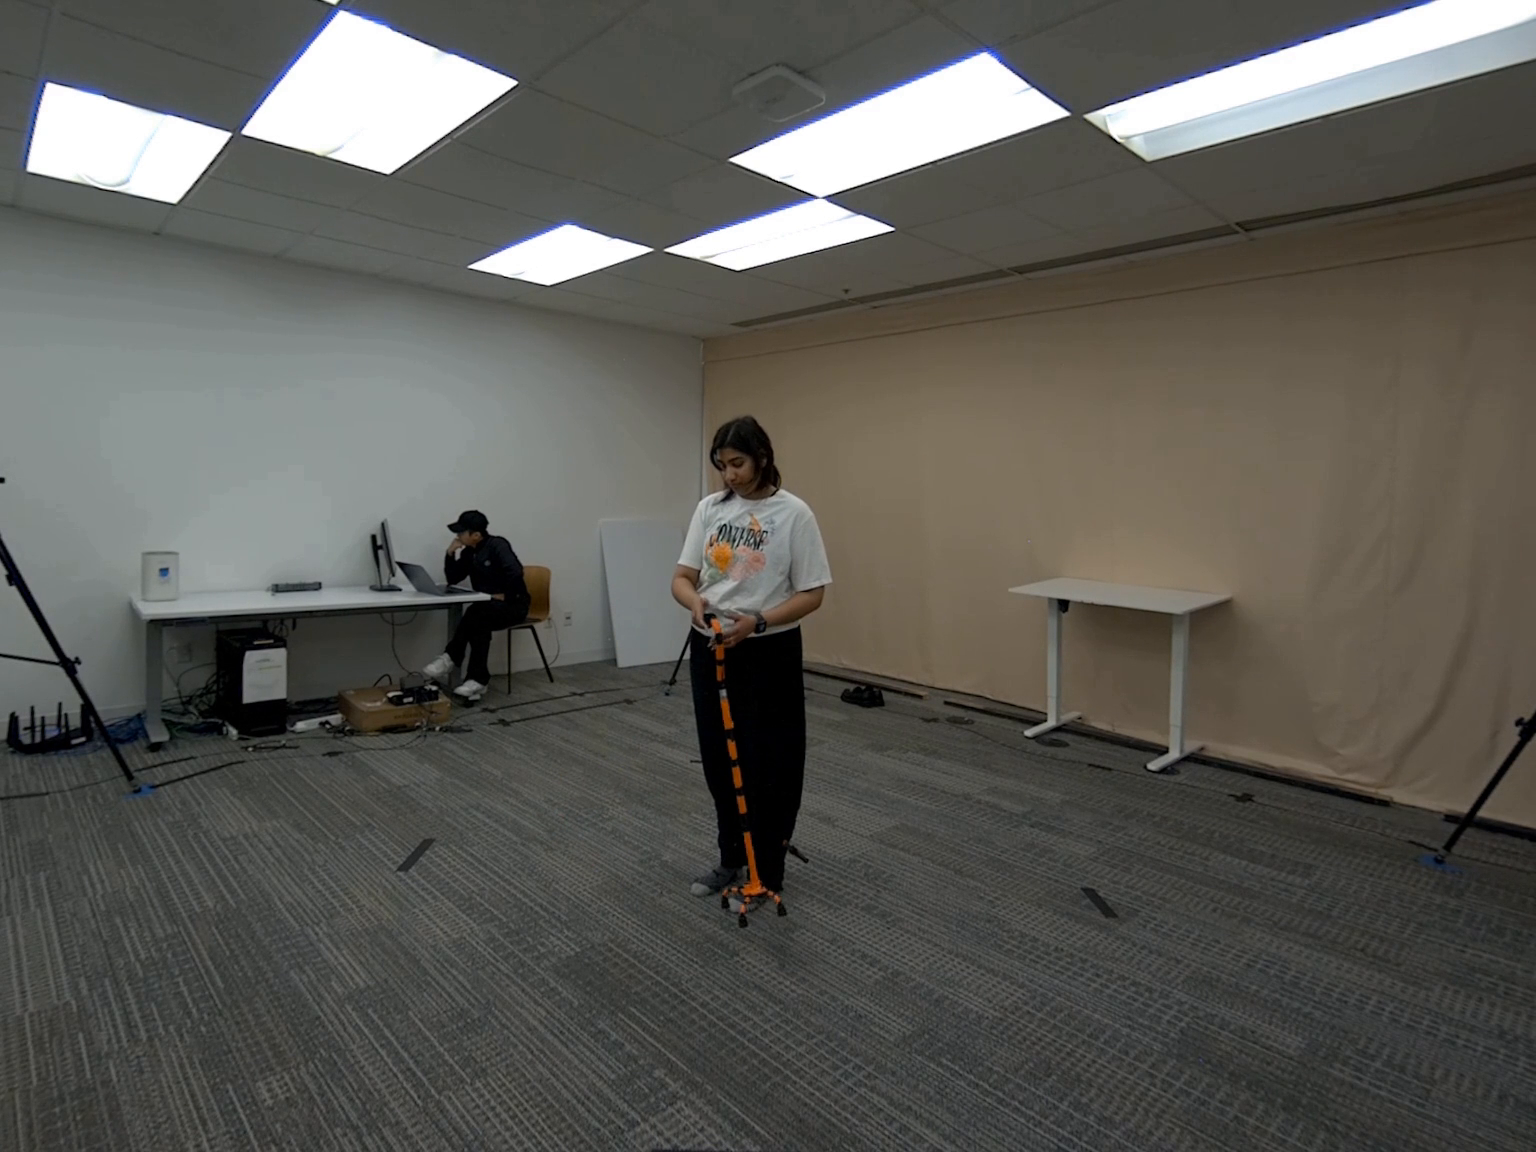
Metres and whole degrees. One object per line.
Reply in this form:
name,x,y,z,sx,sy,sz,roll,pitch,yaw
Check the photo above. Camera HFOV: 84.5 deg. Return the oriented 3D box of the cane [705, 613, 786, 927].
cane,-0.132,0.578,2.577,0.150,0.909,0.209,-8,-2,-19
